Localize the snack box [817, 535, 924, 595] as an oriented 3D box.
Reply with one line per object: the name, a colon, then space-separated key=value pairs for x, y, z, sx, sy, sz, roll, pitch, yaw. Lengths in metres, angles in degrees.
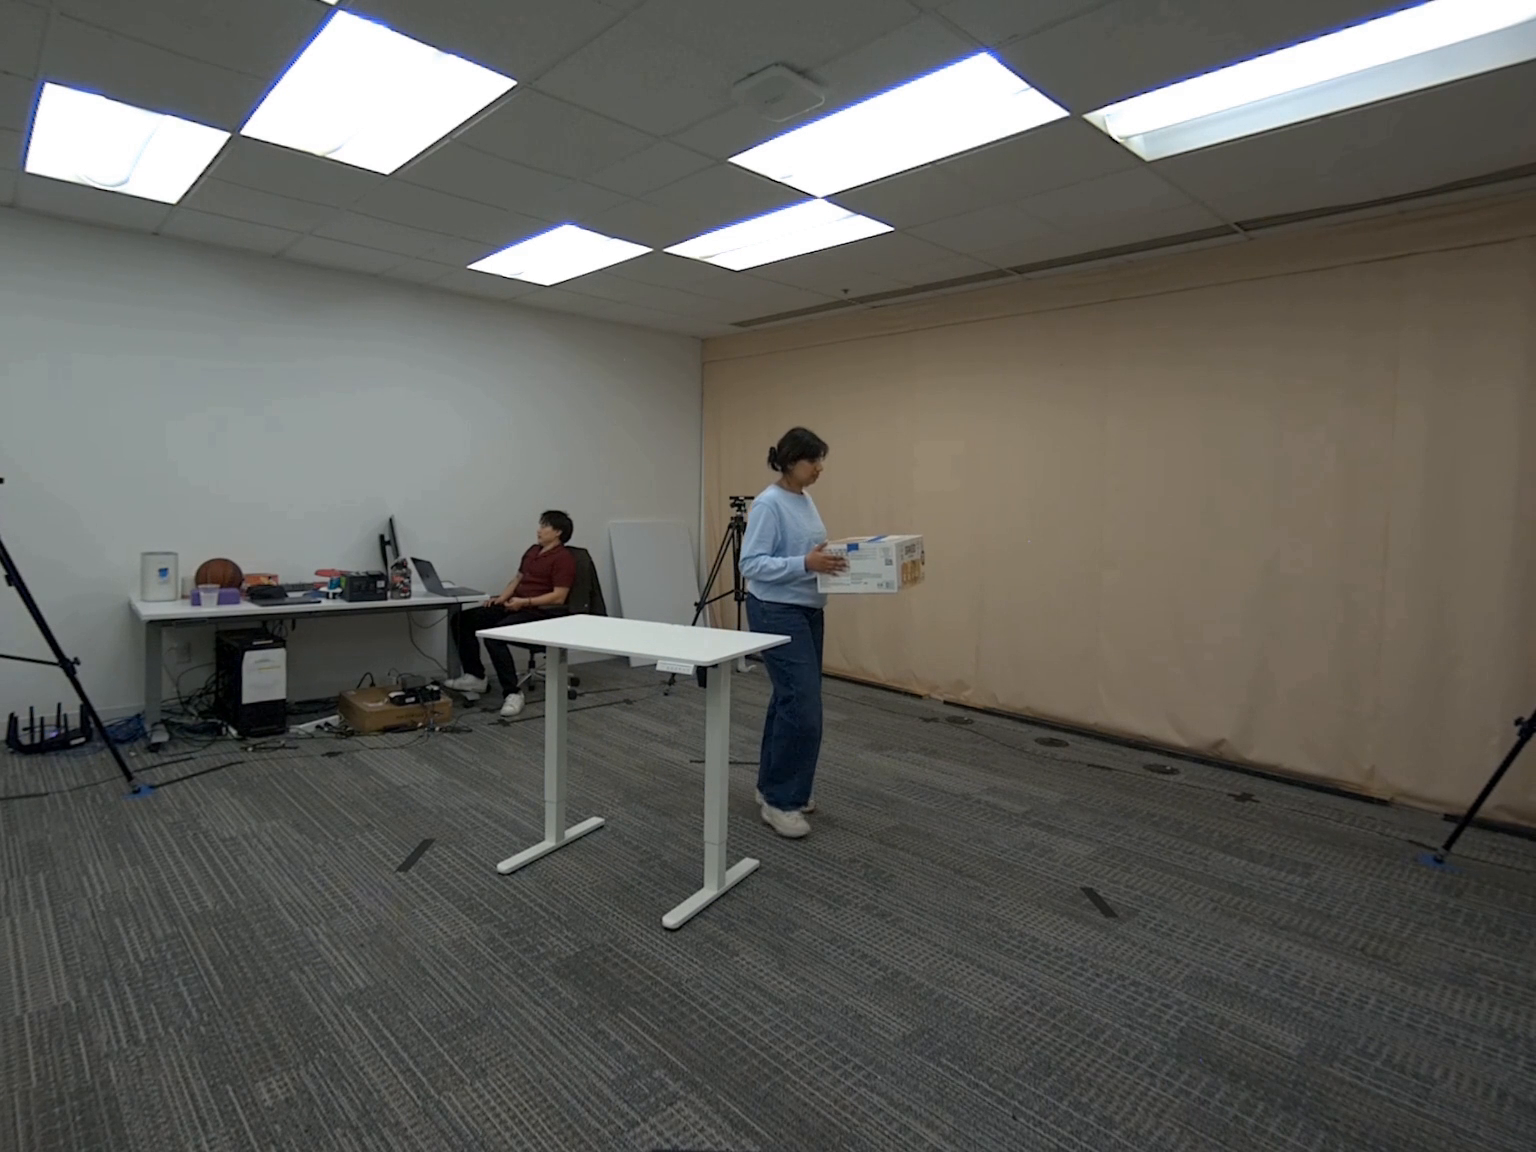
snack box: x=0.431 y=-0.055 z=3.543 sx=0.347 sy=0.205 sz=0.398 roll=-1 pitch=6 yaw=28
